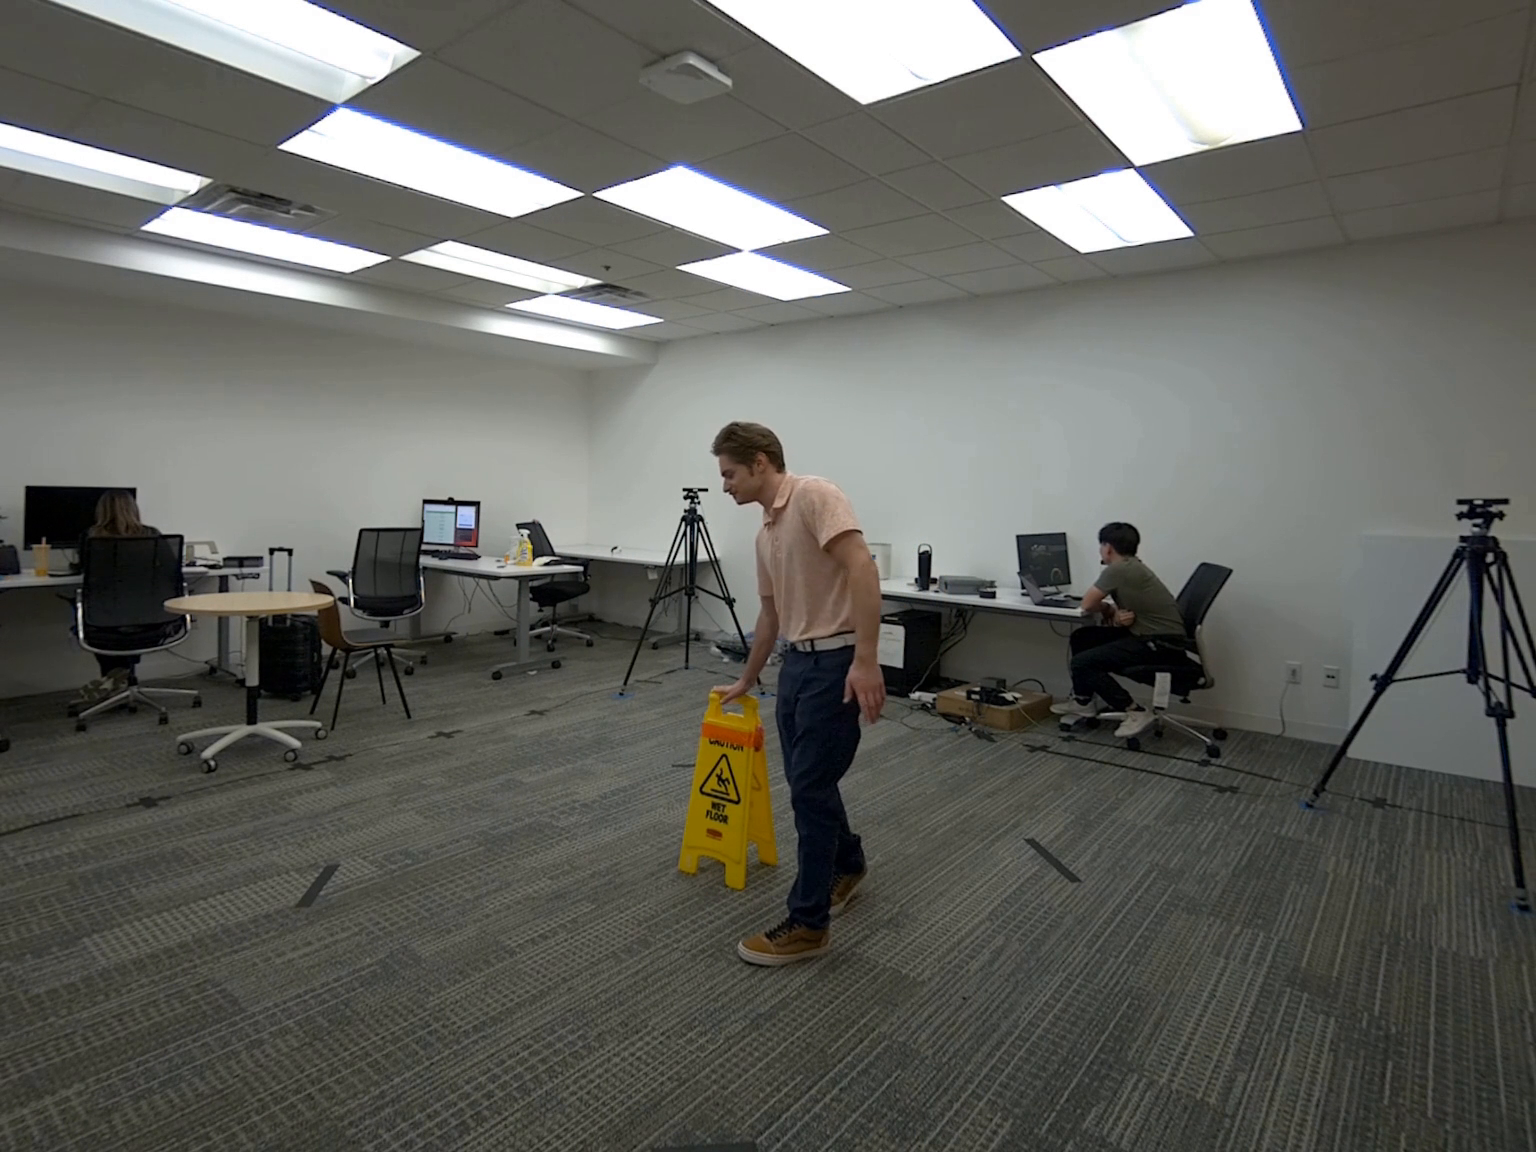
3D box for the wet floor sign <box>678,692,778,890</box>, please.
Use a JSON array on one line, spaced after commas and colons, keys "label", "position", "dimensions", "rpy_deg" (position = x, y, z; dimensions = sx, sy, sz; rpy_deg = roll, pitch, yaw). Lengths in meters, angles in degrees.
[{"label": "wet floor sign", "position": [-0.147, 0.745, 3.102], "dimensions": [0.291, 0.644, 0.282], "rpy_deg": [3, 4, 32]}]
